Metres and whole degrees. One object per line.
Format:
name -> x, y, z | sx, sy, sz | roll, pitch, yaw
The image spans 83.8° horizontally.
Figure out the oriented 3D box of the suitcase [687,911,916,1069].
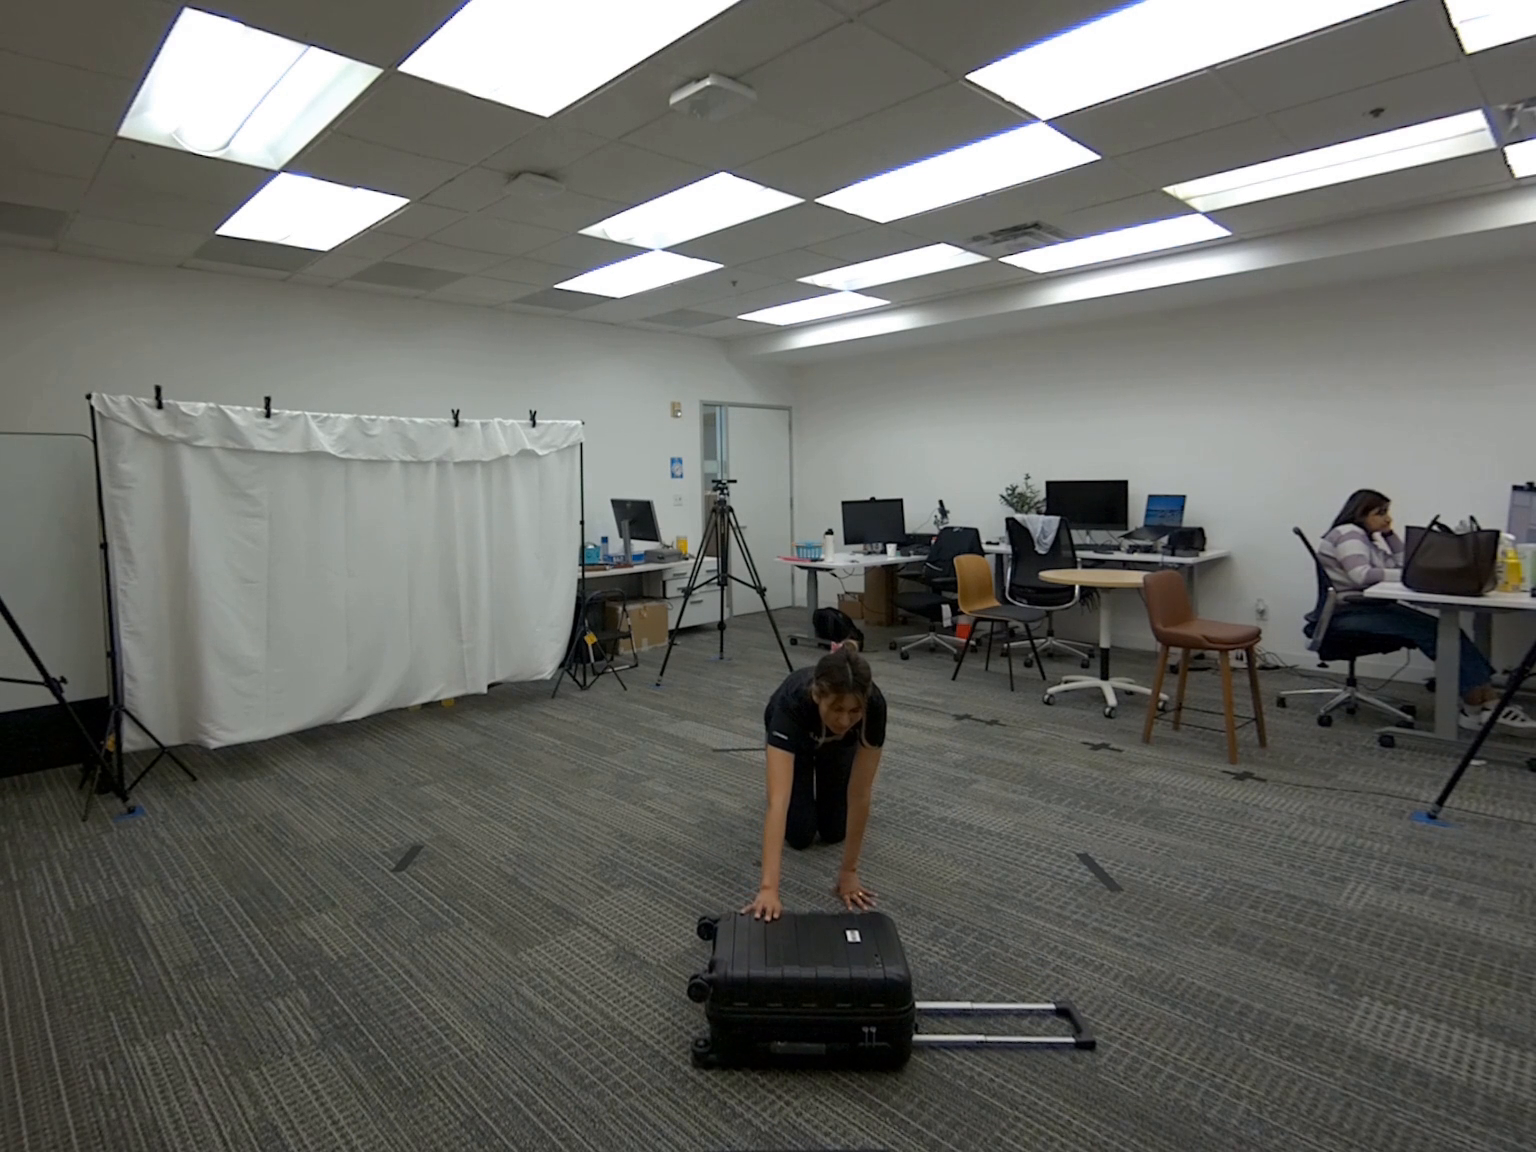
suitcase -> 0.298, 1.031, 2.155 | 0.981, 0.256, 0.384 | -3, 3, 2
